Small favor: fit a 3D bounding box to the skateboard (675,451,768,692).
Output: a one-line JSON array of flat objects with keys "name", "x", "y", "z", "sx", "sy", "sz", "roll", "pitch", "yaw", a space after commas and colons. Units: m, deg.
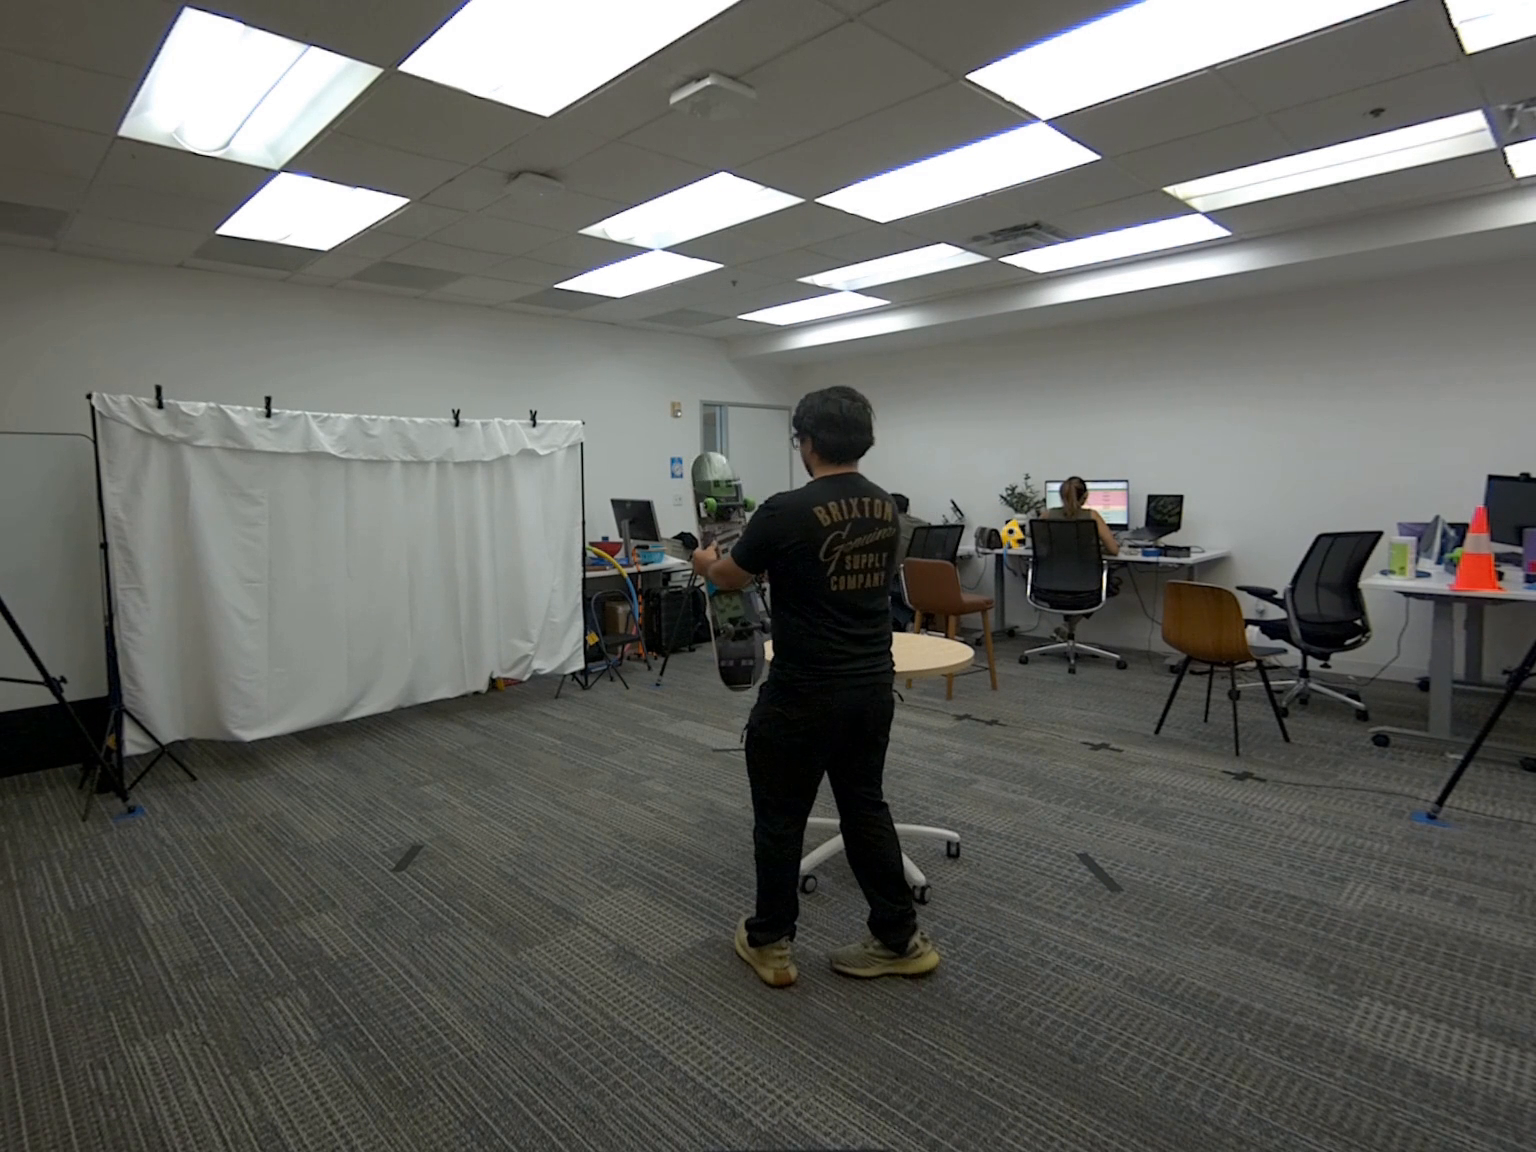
[{"name": "skateboard", "x": -0.107, "y": -0.027, "z": 2.744, "sx": 0.188, "sy": 0.791, "sz": 0.112, "roll": -4, "pitch": -9, "yaw": -35}]
